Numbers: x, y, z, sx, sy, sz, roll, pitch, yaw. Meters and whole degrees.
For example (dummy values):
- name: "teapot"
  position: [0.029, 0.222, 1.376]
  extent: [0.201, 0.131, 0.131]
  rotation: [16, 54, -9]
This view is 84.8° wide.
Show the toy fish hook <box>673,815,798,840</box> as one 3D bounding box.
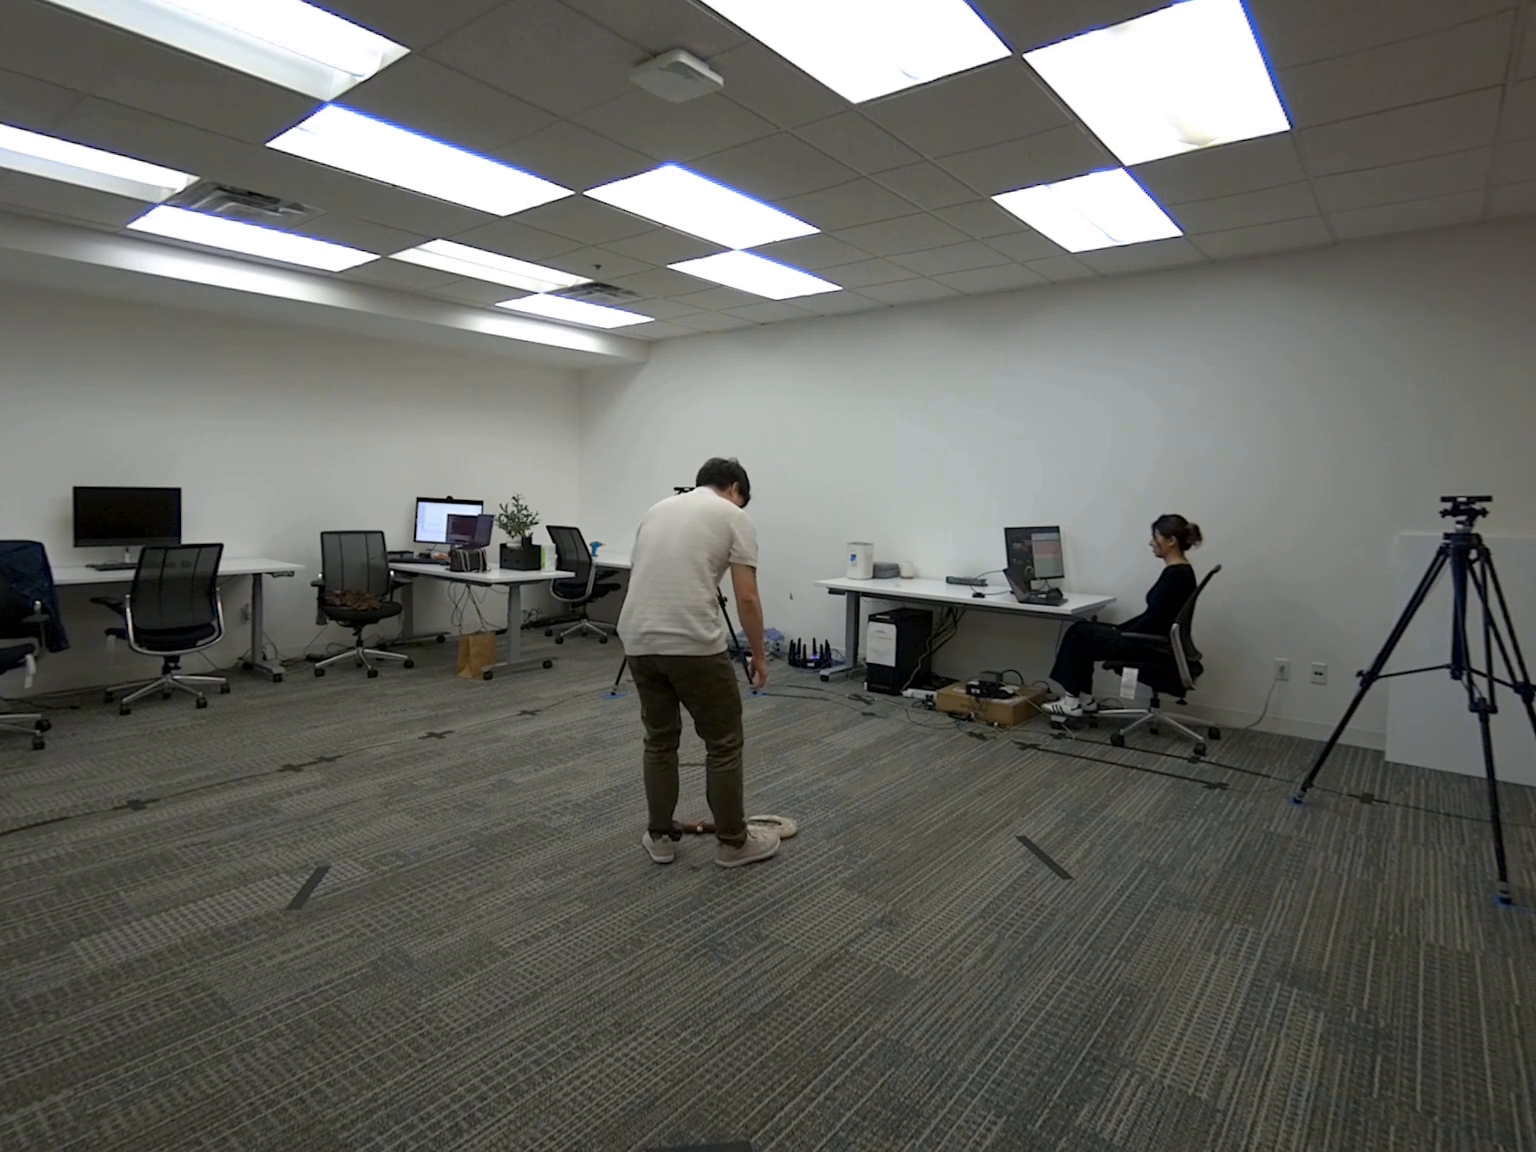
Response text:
- name: "toy fish hook"
  position: [-0.146, 1.012, 3.481]
  extent: [0.508, 0.048, 0.223]
  rotation: [2, -2, 2]
